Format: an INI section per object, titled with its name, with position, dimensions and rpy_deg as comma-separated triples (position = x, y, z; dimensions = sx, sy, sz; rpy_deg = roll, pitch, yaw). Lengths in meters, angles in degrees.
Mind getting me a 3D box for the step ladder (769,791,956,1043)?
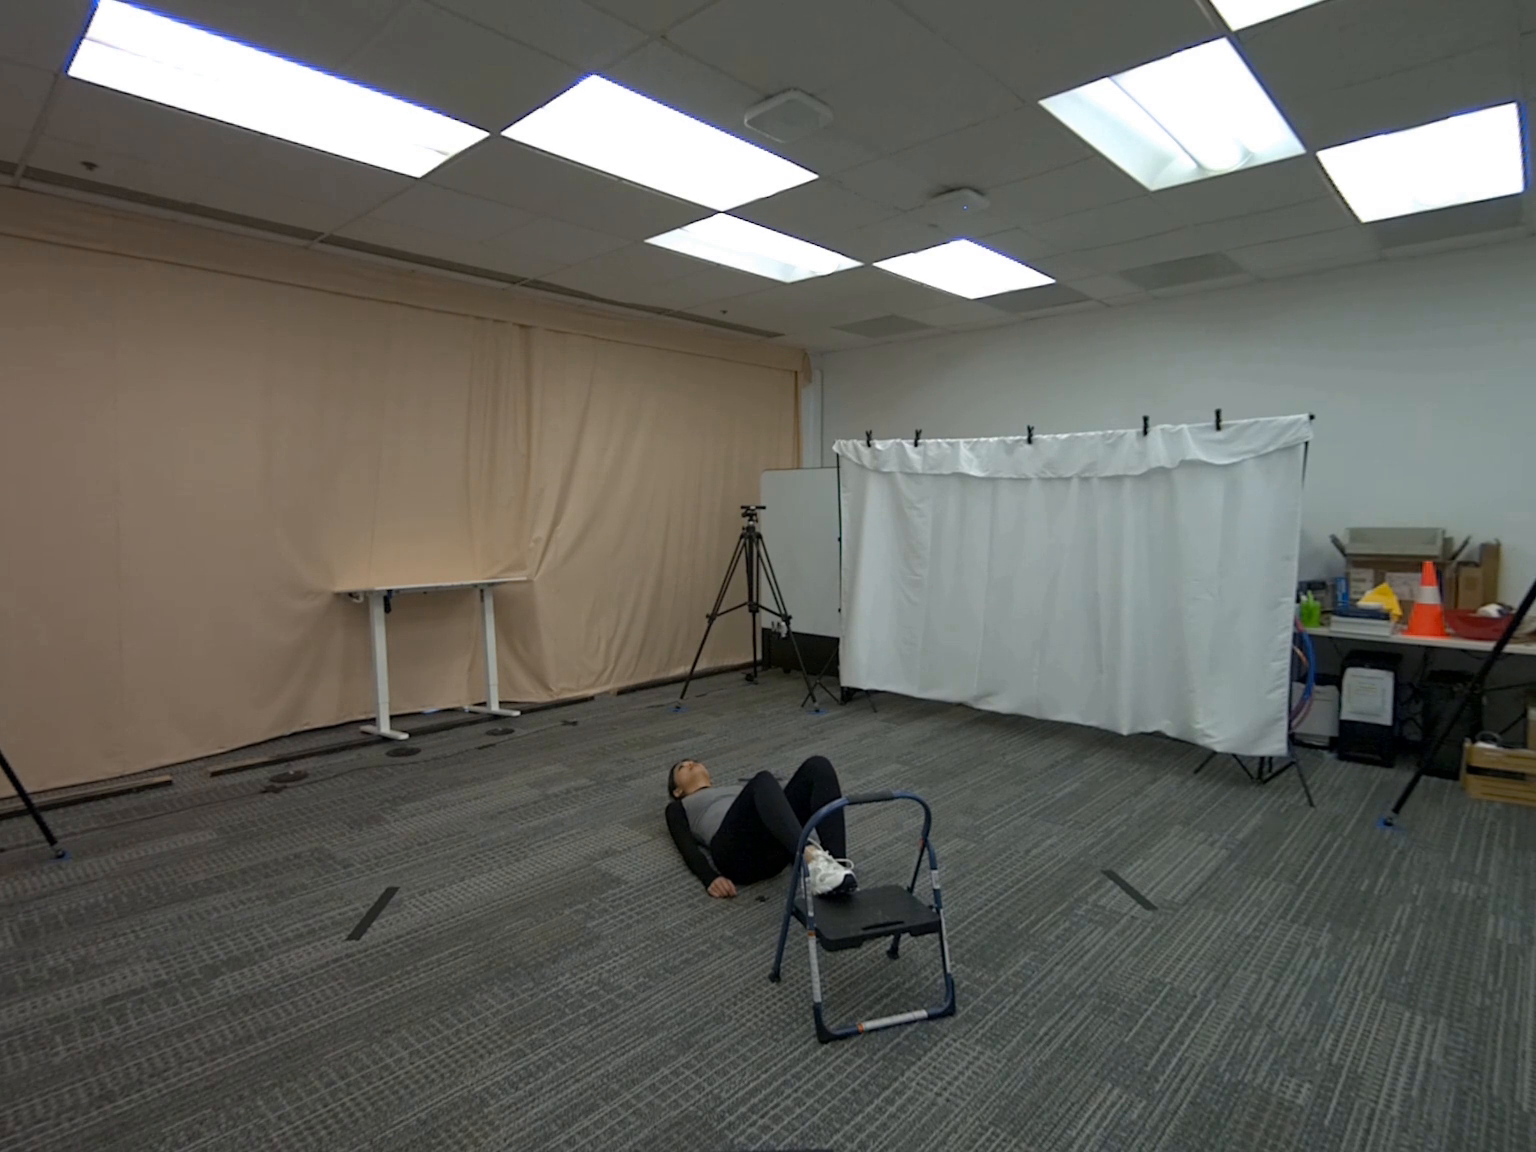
[step ladder]
position = 0.272, 0.894, 2.382
dimensions = 0.422, 0.605, 0.357
rpy_deg = -1, 3, -21
